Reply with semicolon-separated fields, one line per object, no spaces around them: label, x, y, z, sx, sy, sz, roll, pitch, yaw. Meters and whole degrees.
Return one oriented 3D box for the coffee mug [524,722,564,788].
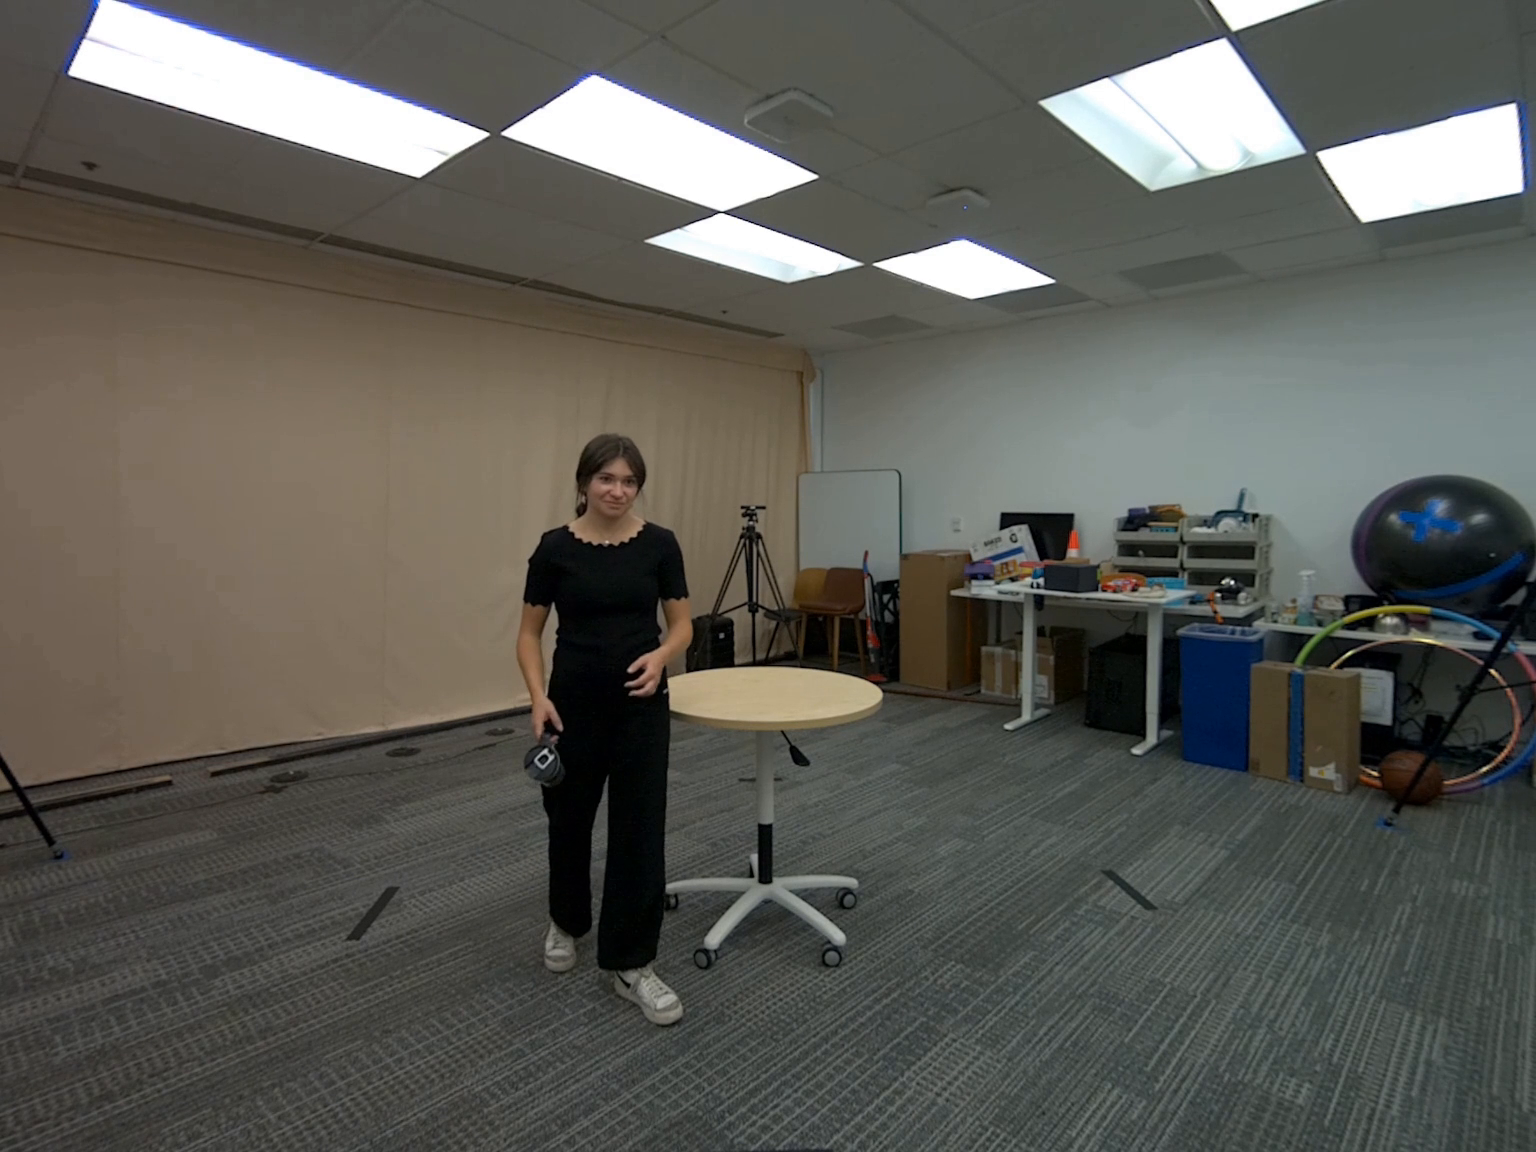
coffee mug;-0.581;0.472;2.220;0.087;0.124;0.201;-19;-18;-9
